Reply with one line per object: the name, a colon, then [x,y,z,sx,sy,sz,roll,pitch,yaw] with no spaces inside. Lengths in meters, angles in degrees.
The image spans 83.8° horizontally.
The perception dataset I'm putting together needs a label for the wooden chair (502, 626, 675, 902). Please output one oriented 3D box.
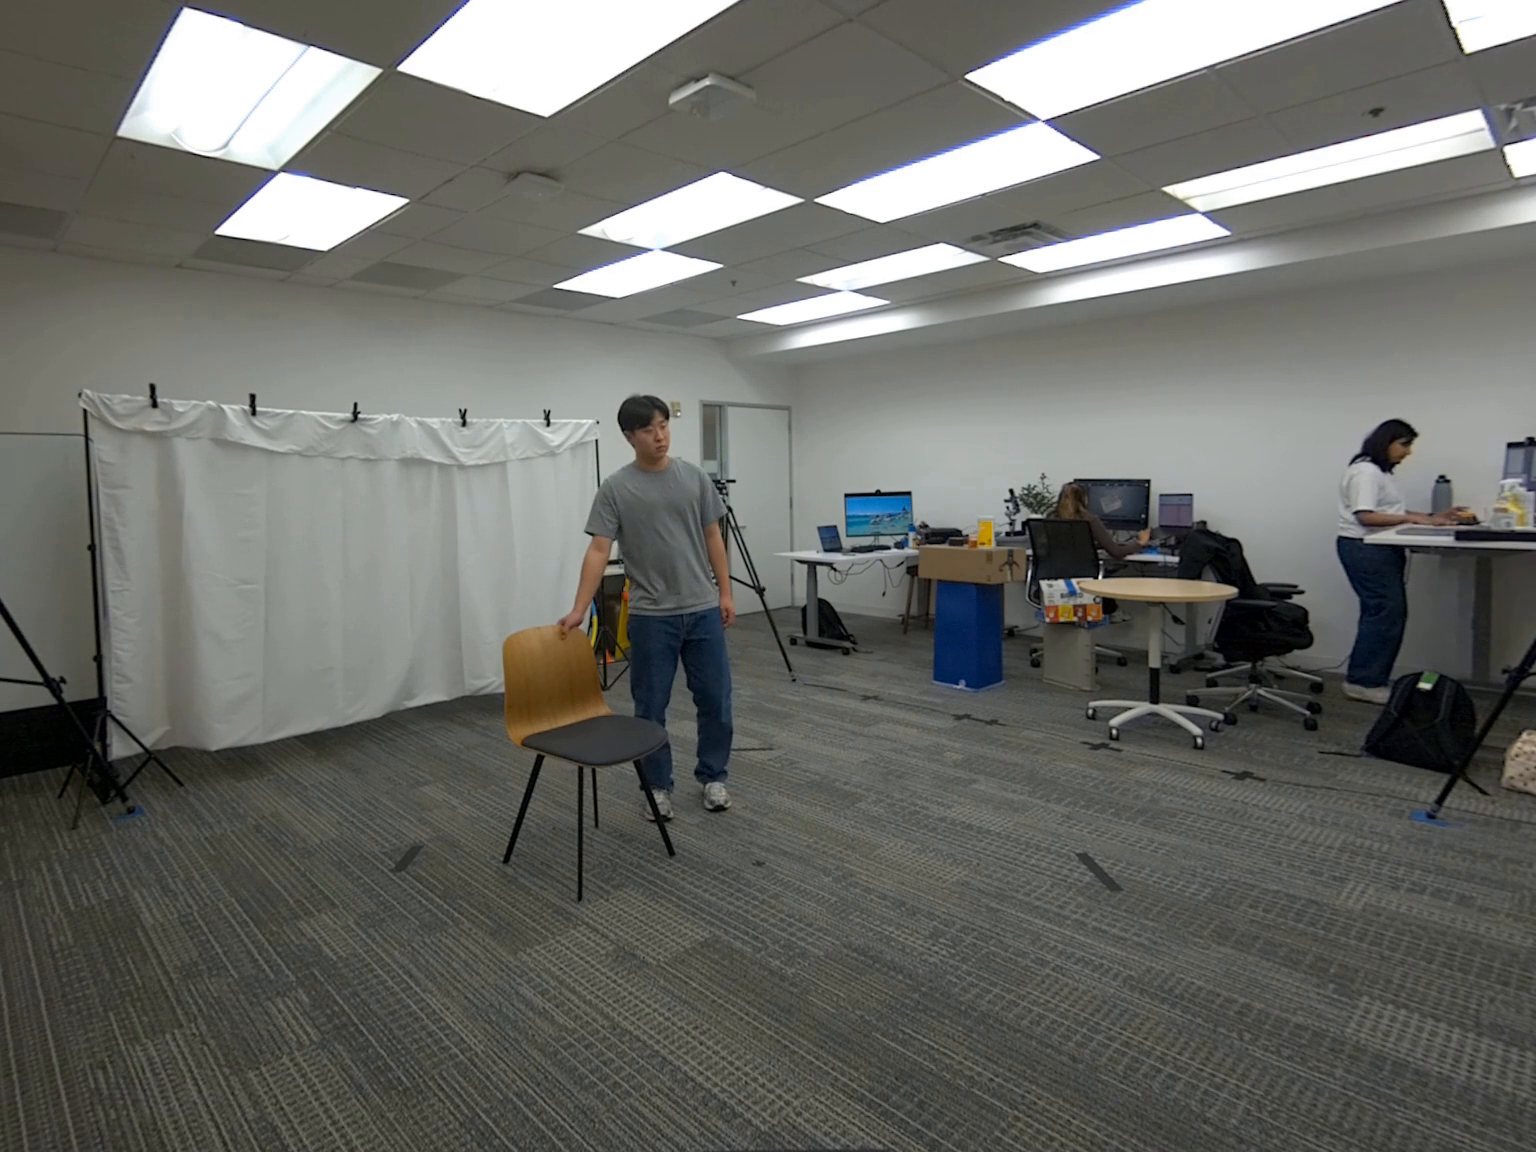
wooden chair: [-0.667,0.630,3.131,0.537,0.877,0.466,-4,1,41]
